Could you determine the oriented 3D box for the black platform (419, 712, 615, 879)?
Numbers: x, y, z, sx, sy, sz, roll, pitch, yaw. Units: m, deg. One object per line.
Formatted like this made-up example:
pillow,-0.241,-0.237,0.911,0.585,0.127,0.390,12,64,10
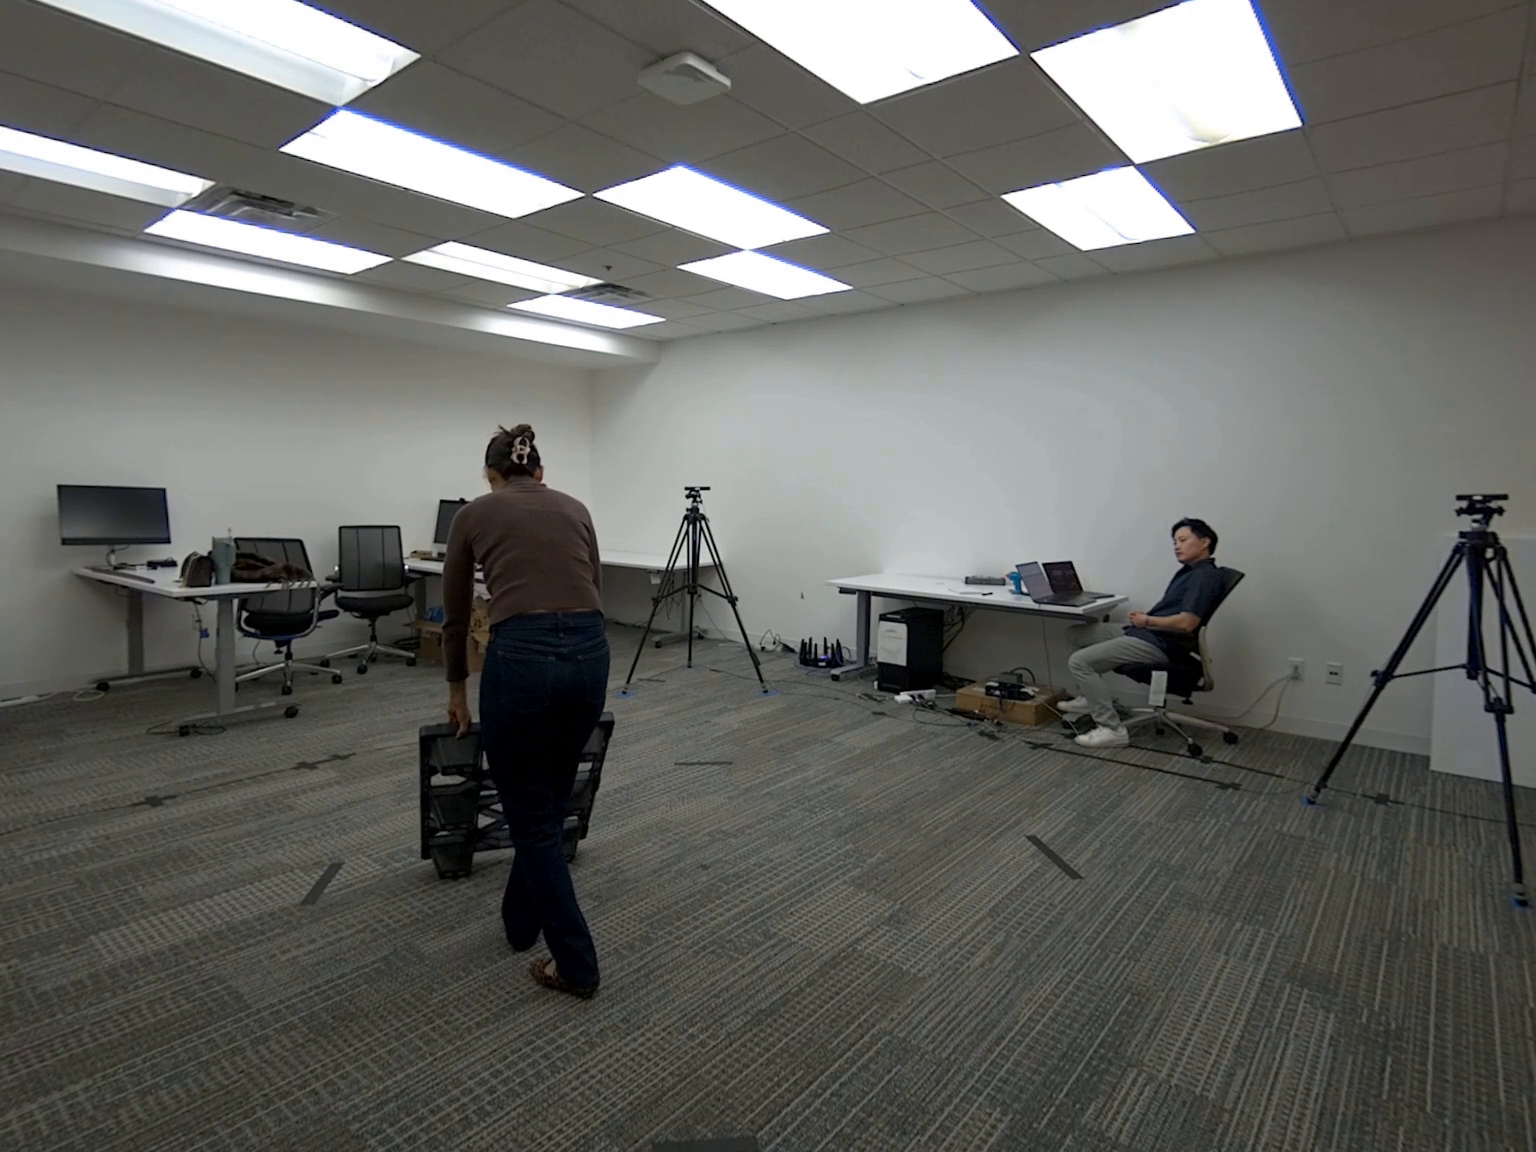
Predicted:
black platform,-0.878,0.760,2.870,0.593,0.792,0.149,-1,46,-21
